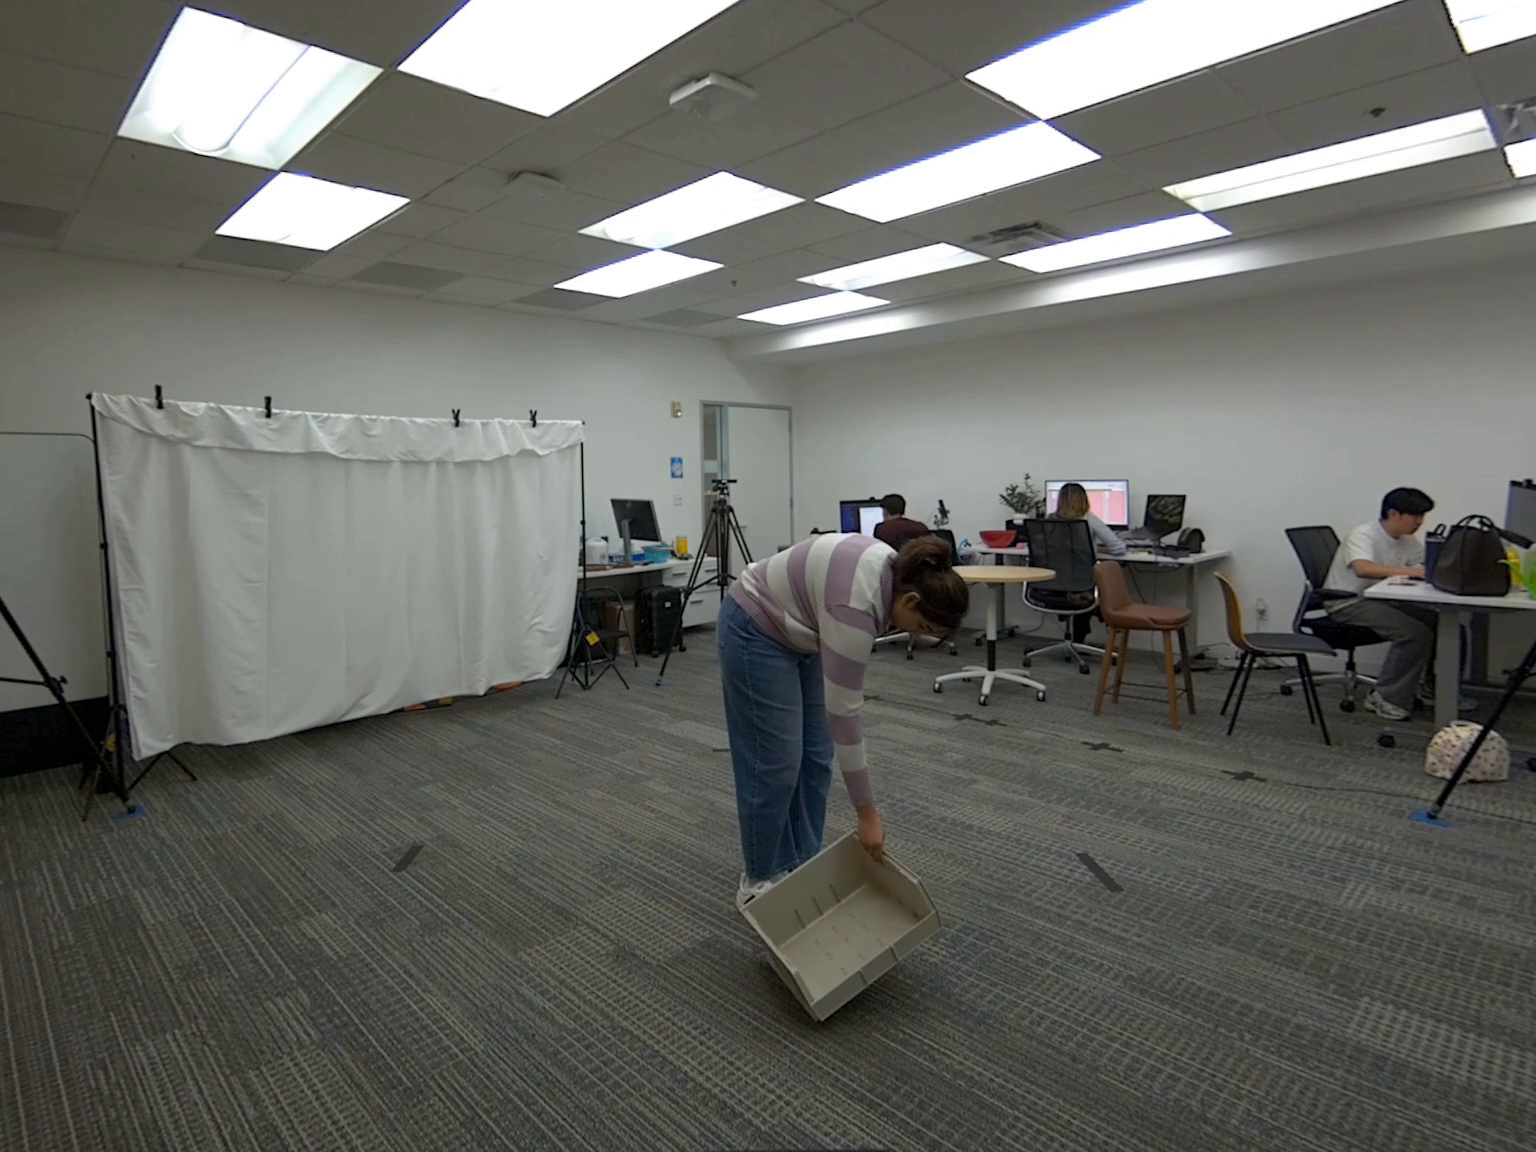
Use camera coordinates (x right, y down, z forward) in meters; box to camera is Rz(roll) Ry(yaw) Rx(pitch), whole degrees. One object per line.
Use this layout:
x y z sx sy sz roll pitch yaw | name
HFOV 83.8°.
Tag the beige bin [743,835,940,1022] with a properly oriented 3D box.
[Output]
0.206 0.960 2.366 0.419 0.186 0.386 -29 15 -18 | beige bin
